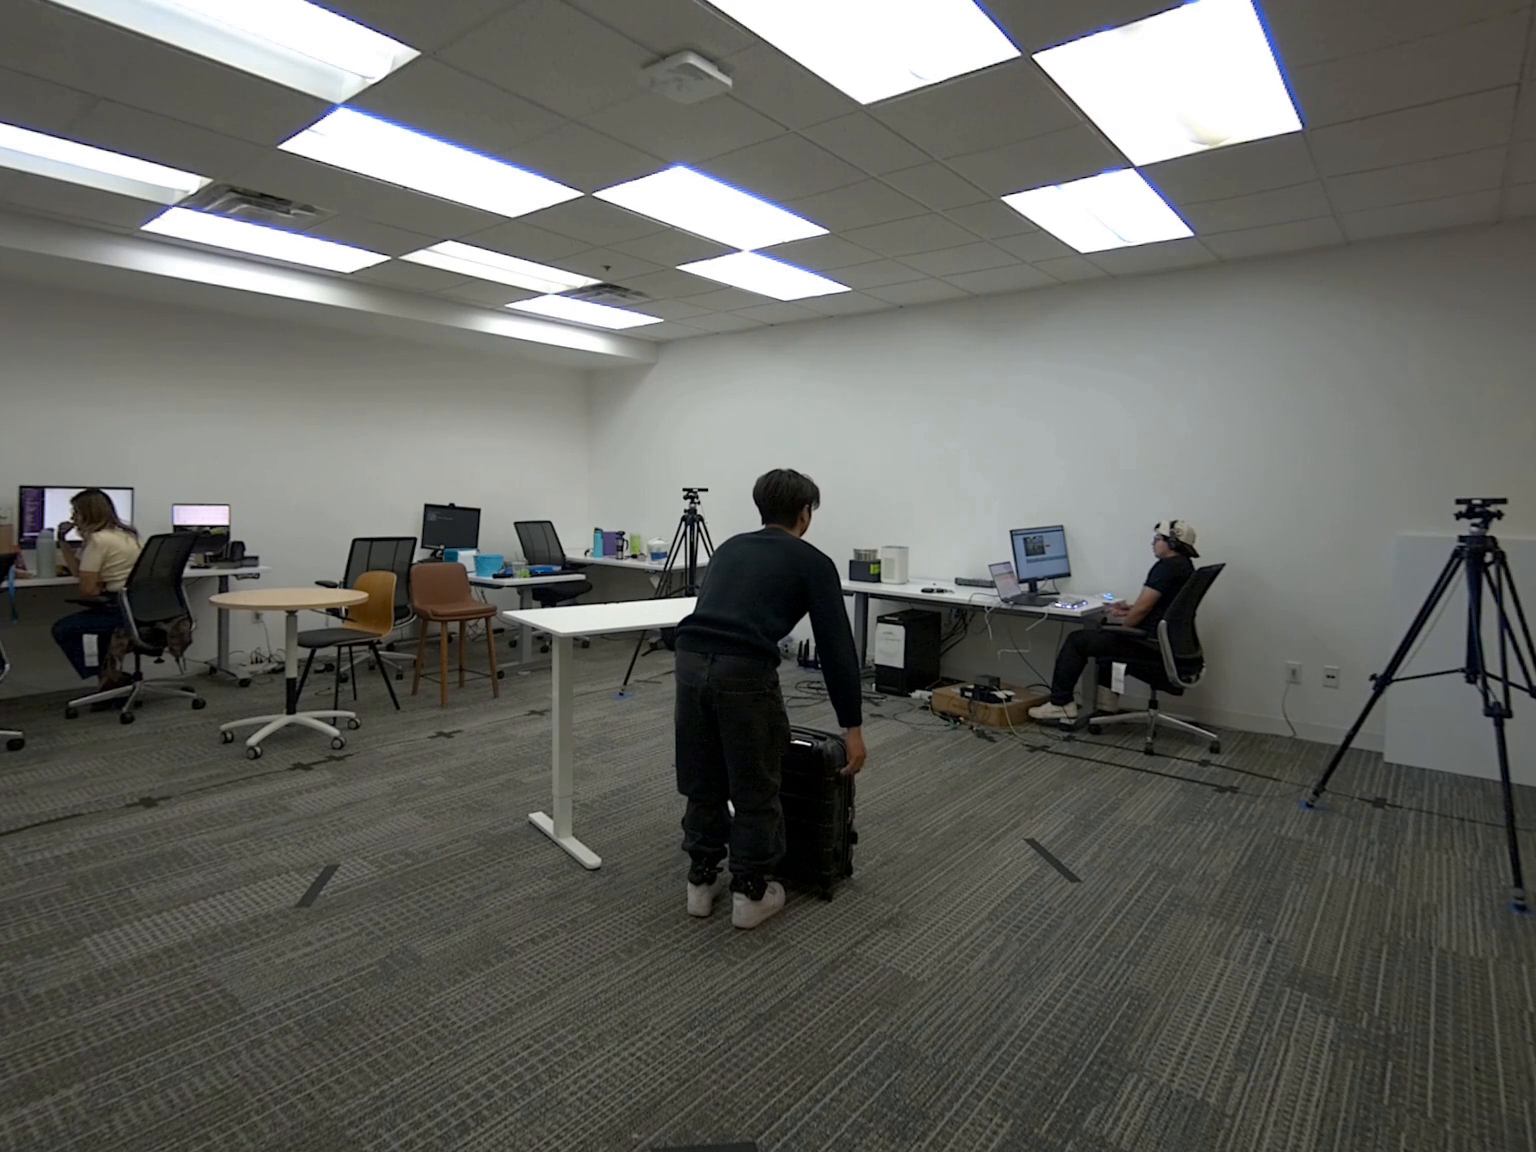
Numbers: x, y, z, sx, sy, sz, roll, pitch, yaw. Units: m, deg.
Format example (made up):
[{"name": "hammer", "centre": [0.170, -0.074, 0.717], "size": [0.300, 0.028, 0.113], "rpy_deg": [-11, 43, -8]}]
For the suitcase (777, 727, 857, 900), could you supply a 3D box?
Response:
[{"name": "suitcase", "centre": [0.114, 0.806, 3.034], "size": [0.386, 0.548, 0.242], "rpy_deg": [3, 3, 28]}]
